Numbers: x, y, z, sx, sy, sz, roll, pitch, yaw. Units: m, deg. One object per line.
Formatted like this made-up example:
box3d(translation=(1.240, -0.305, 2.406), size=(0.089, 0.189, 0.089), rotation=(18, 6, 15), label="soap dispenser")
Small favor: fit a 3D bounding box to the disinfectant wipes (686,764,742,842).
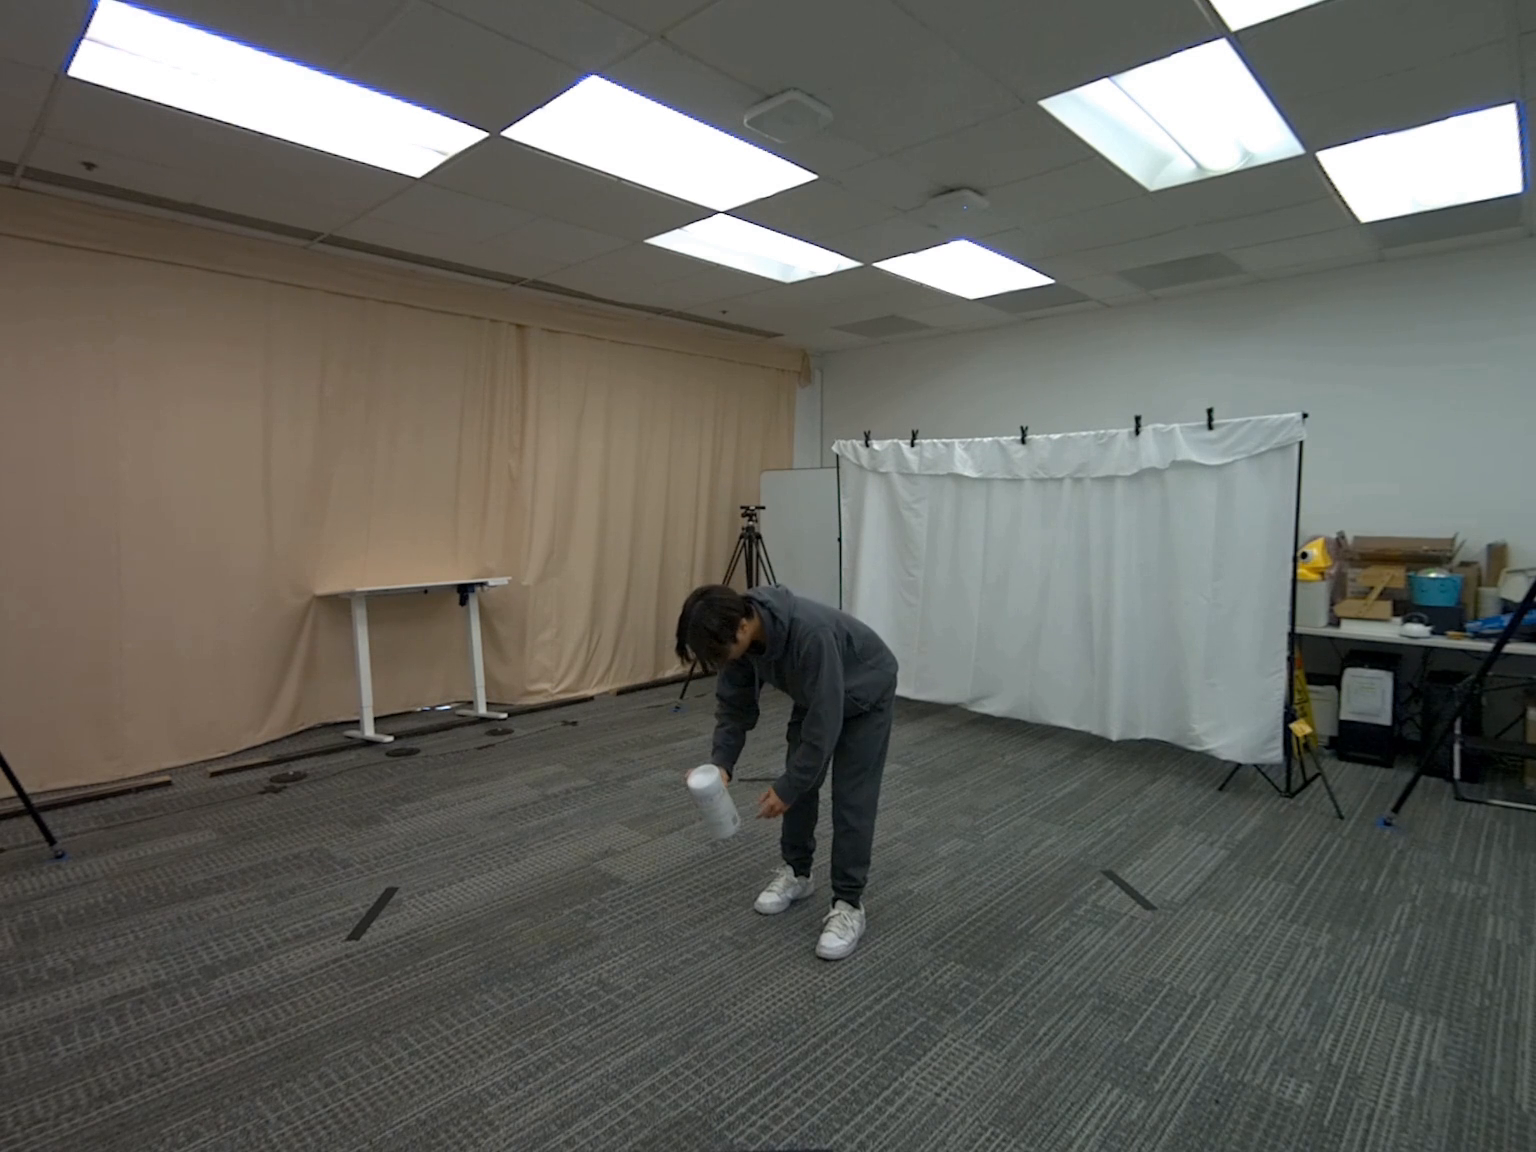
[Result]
box3d(translation=(-0.158, 0.698, 2.633), size=(0.118, 0.213, 0.119), rotation=(-16, 22, 5), label="disinfectant wipes")
